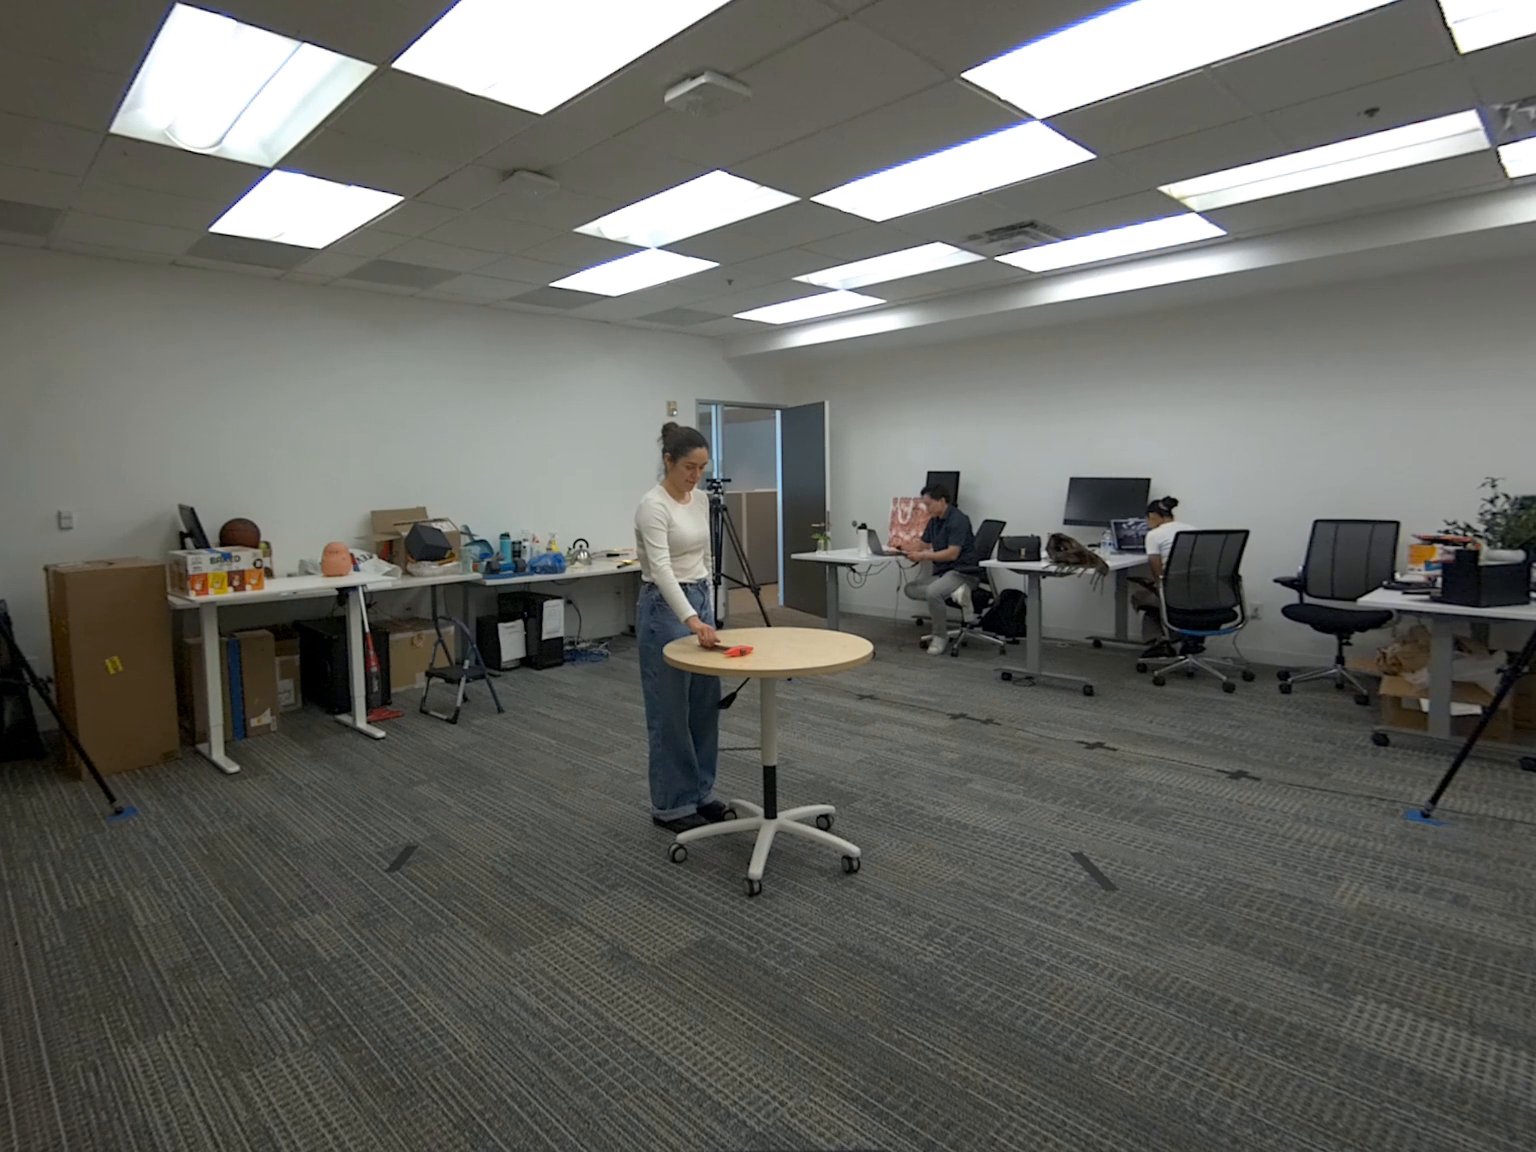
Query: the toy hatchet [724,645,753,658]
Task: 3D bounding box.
[{"bbox_3d":[-0.142,0.257,3.079,0.128,0.029,0.276,-4,5,-24],"label":"toy hatchet"}]
